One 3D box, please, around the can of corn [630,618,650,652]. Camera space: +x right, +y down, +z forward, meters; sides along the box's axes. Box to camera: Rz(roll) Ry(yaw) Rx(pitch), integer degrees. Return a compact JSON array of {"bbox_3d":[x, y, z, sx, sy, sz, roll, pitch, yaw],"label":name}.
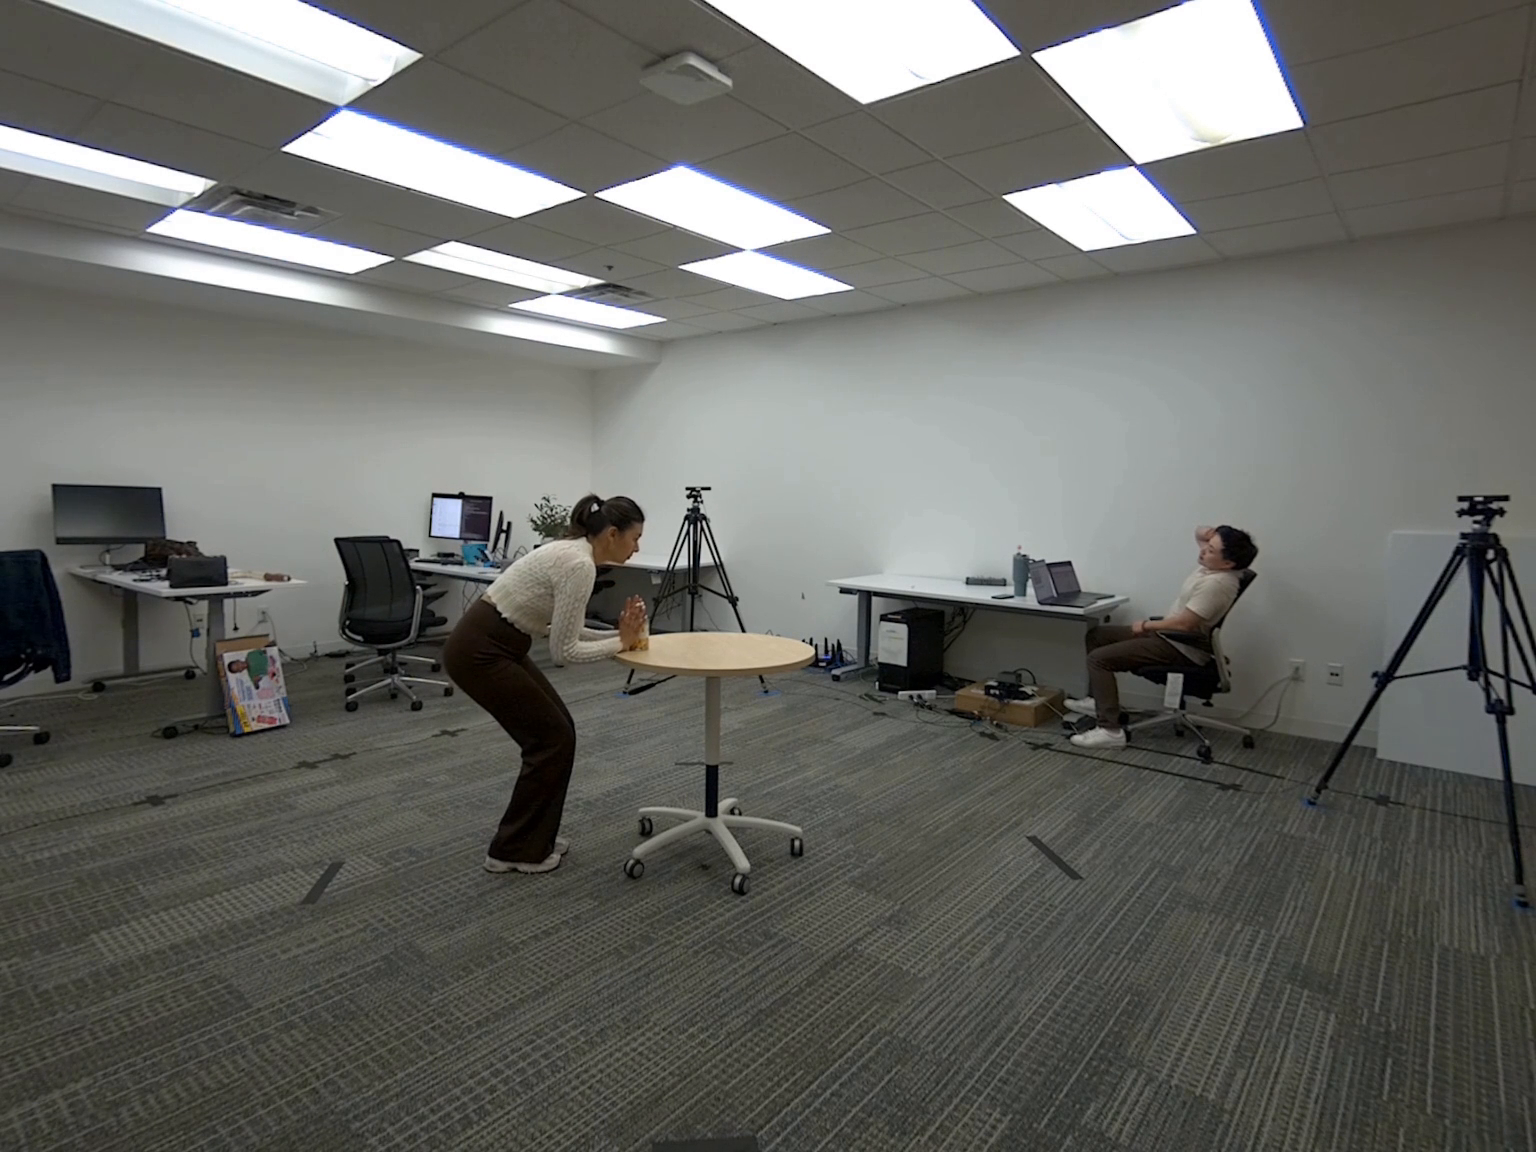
[{"bbox_3d":[-0.502,0.220,3.177,0.074,0.111,0.074,1,1,-2],"label":"can of corn"}]
